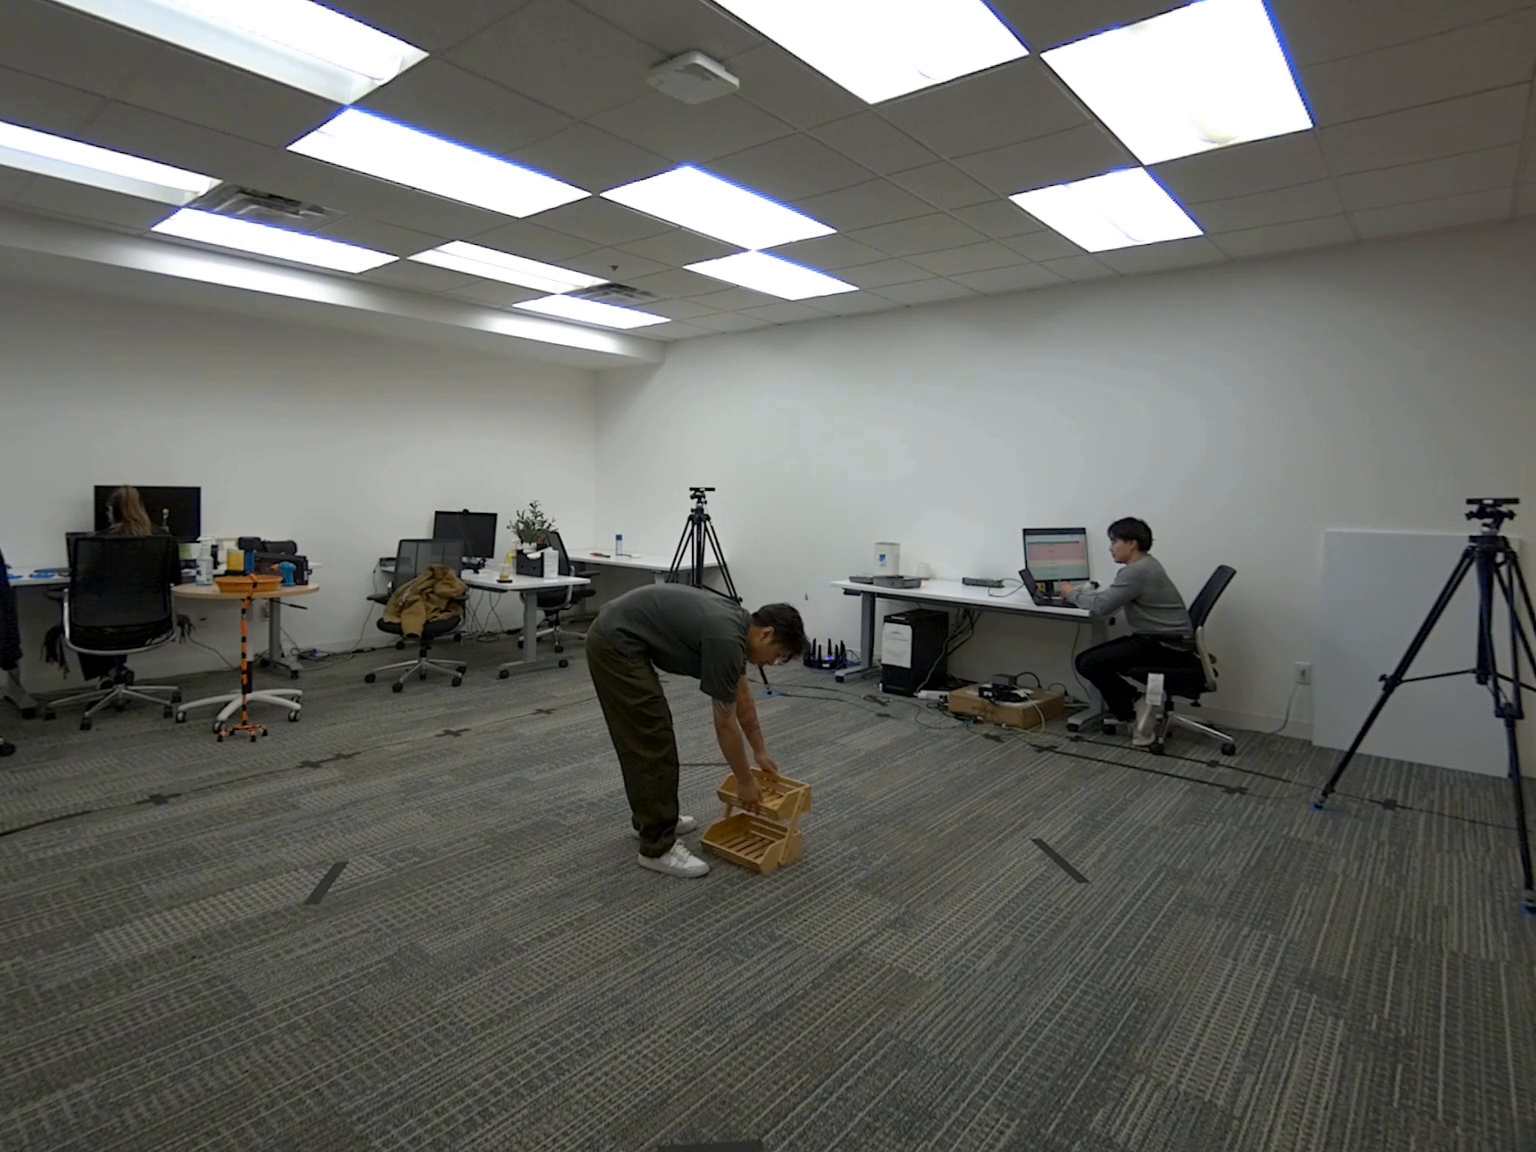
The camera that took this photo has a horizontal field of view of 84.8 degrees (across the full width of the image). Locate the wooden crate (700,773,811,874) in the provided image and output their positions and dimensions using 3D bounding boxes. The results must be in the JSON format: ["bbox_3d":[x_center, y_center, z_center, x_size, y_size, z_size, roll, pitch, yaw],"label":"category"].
[{"bbox_3d":[-0.060,0.921,3.254,0.335,0.272,0.293,5,5,40],"label":"wooden crate"}]
